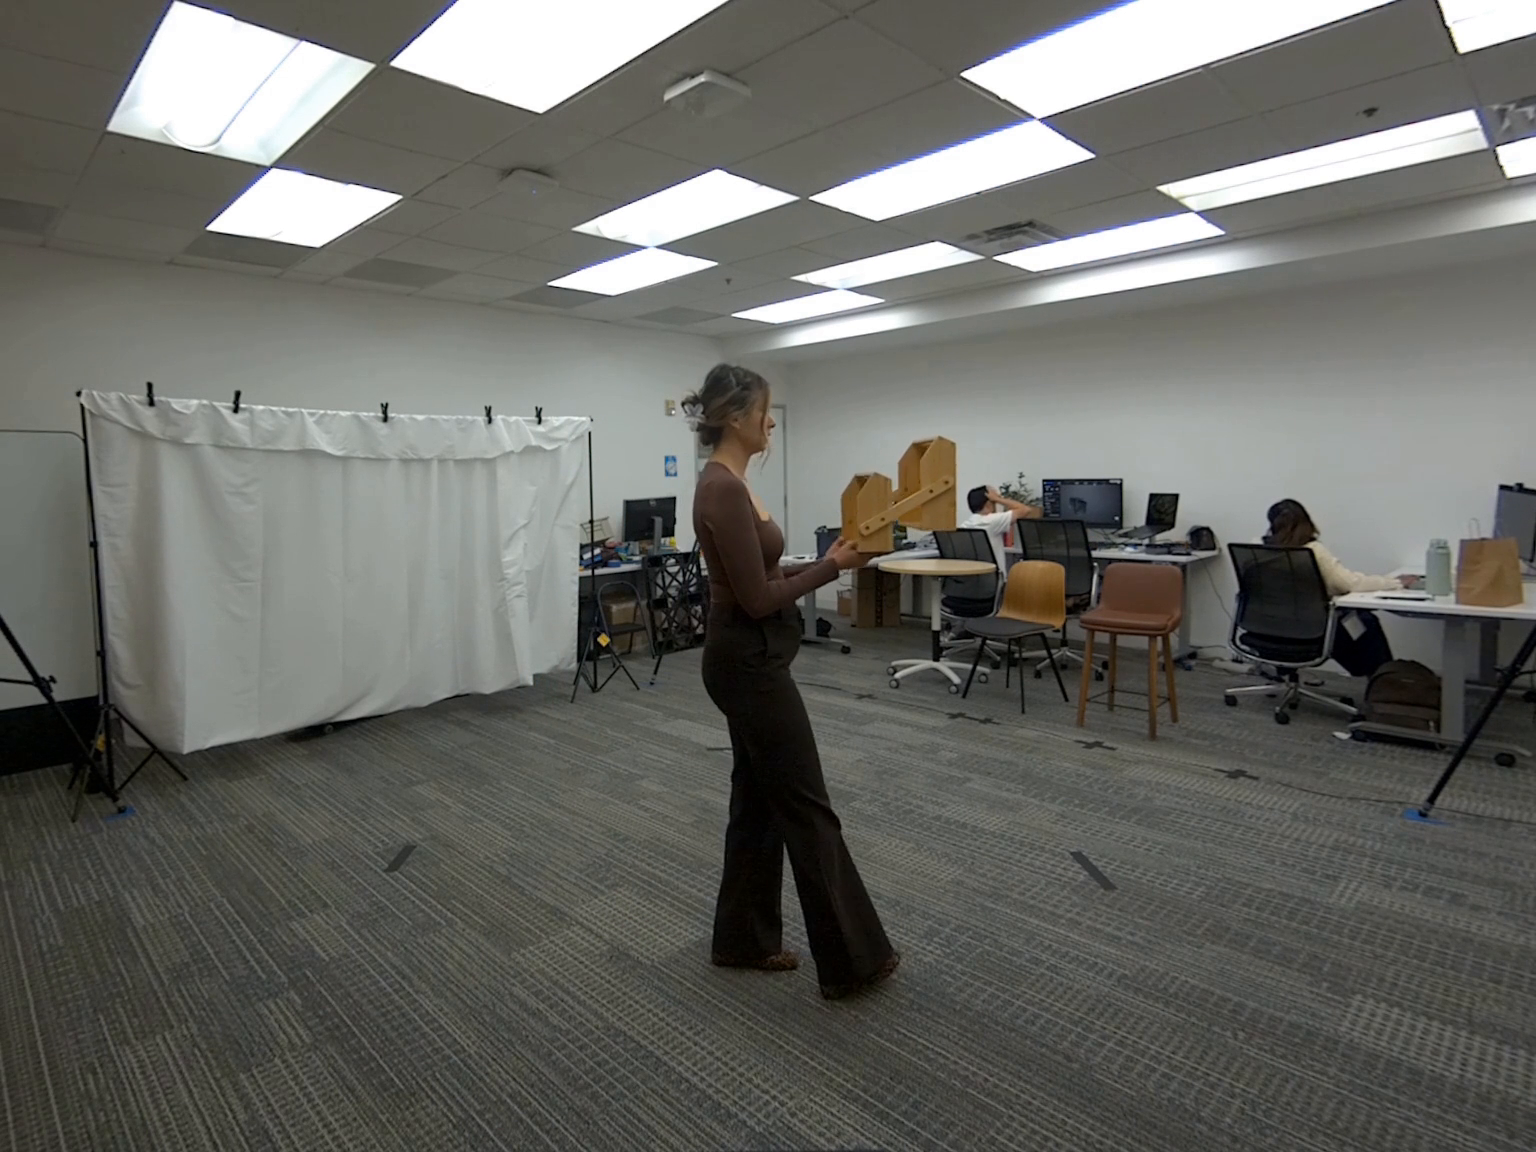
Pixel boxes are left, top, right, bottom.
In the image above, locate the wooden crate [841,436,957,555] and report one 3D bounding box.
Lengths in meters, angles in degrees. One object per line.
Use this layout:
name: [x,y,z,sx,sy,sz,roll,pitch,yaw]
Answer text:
wooden crate: [0.362,-0.234,2.383,0.273,0.301,0.326,-1,5,-3]
